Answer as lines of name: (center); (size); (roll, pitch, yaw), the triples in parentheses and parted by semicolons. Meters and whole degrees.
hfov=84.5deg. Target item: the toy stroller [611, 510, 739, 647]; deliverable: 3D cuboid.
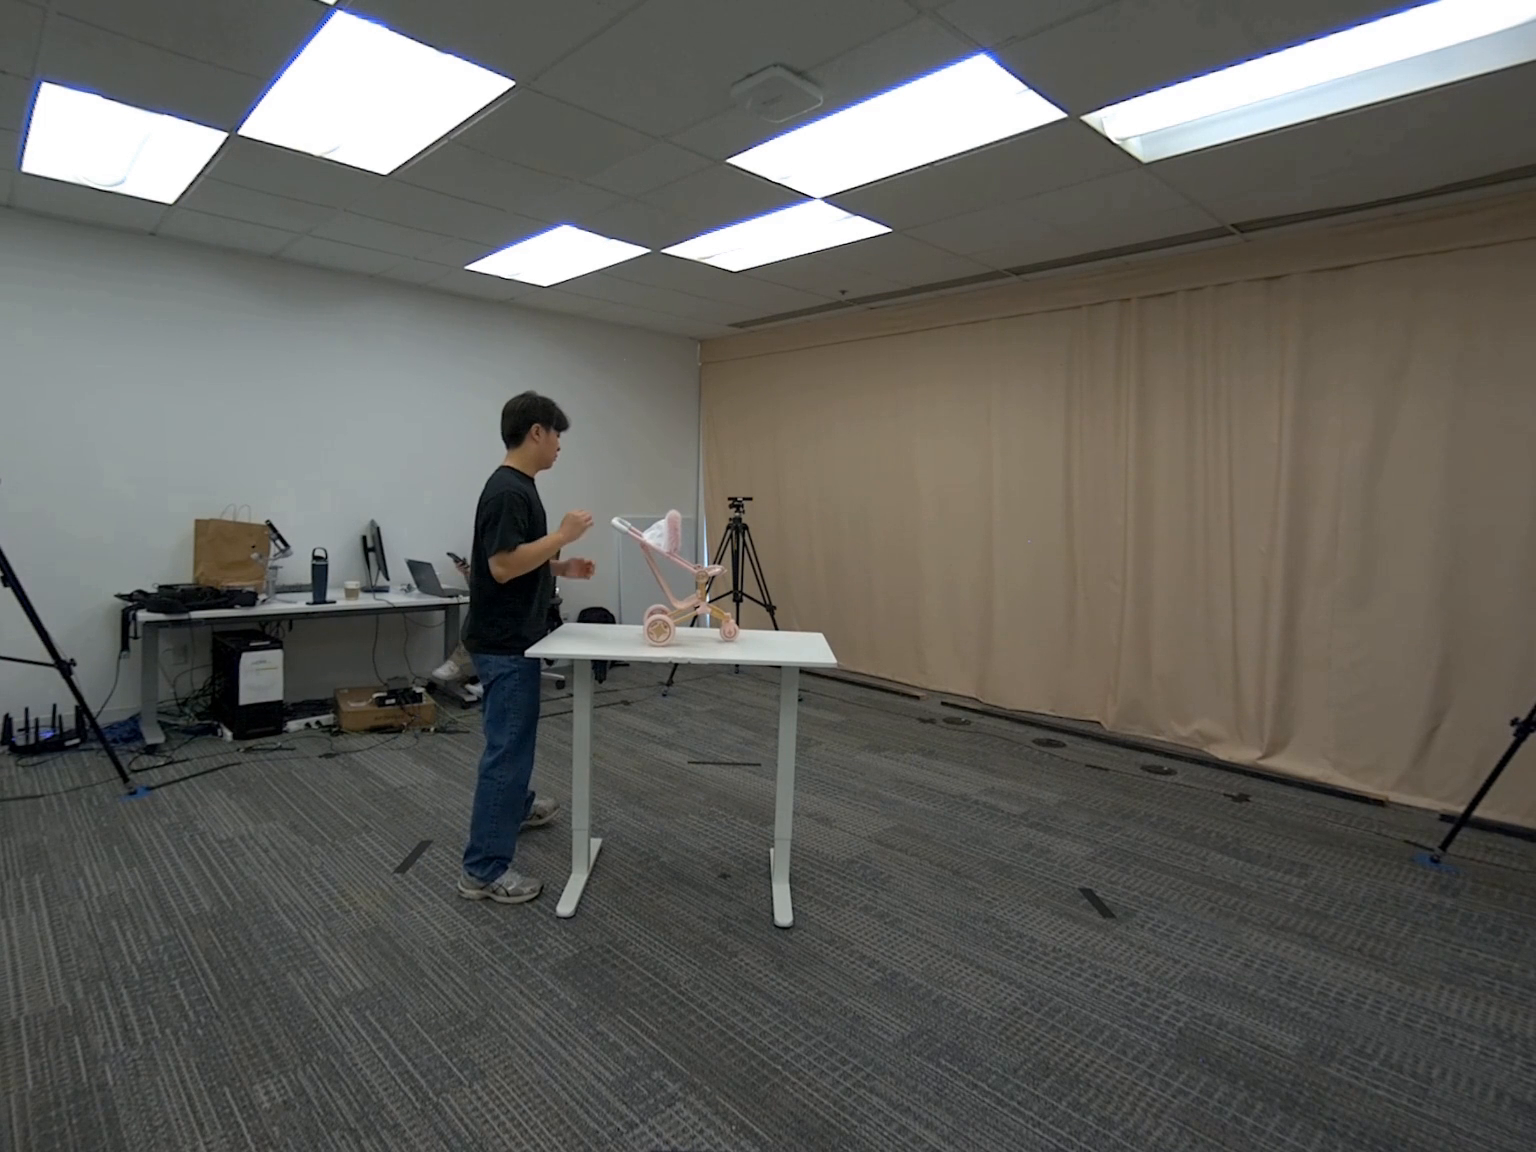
toy stroller: (-0.324, 0.008, 2.971); (0.341, 0.533, 0.283); (-14, 4, -1)
